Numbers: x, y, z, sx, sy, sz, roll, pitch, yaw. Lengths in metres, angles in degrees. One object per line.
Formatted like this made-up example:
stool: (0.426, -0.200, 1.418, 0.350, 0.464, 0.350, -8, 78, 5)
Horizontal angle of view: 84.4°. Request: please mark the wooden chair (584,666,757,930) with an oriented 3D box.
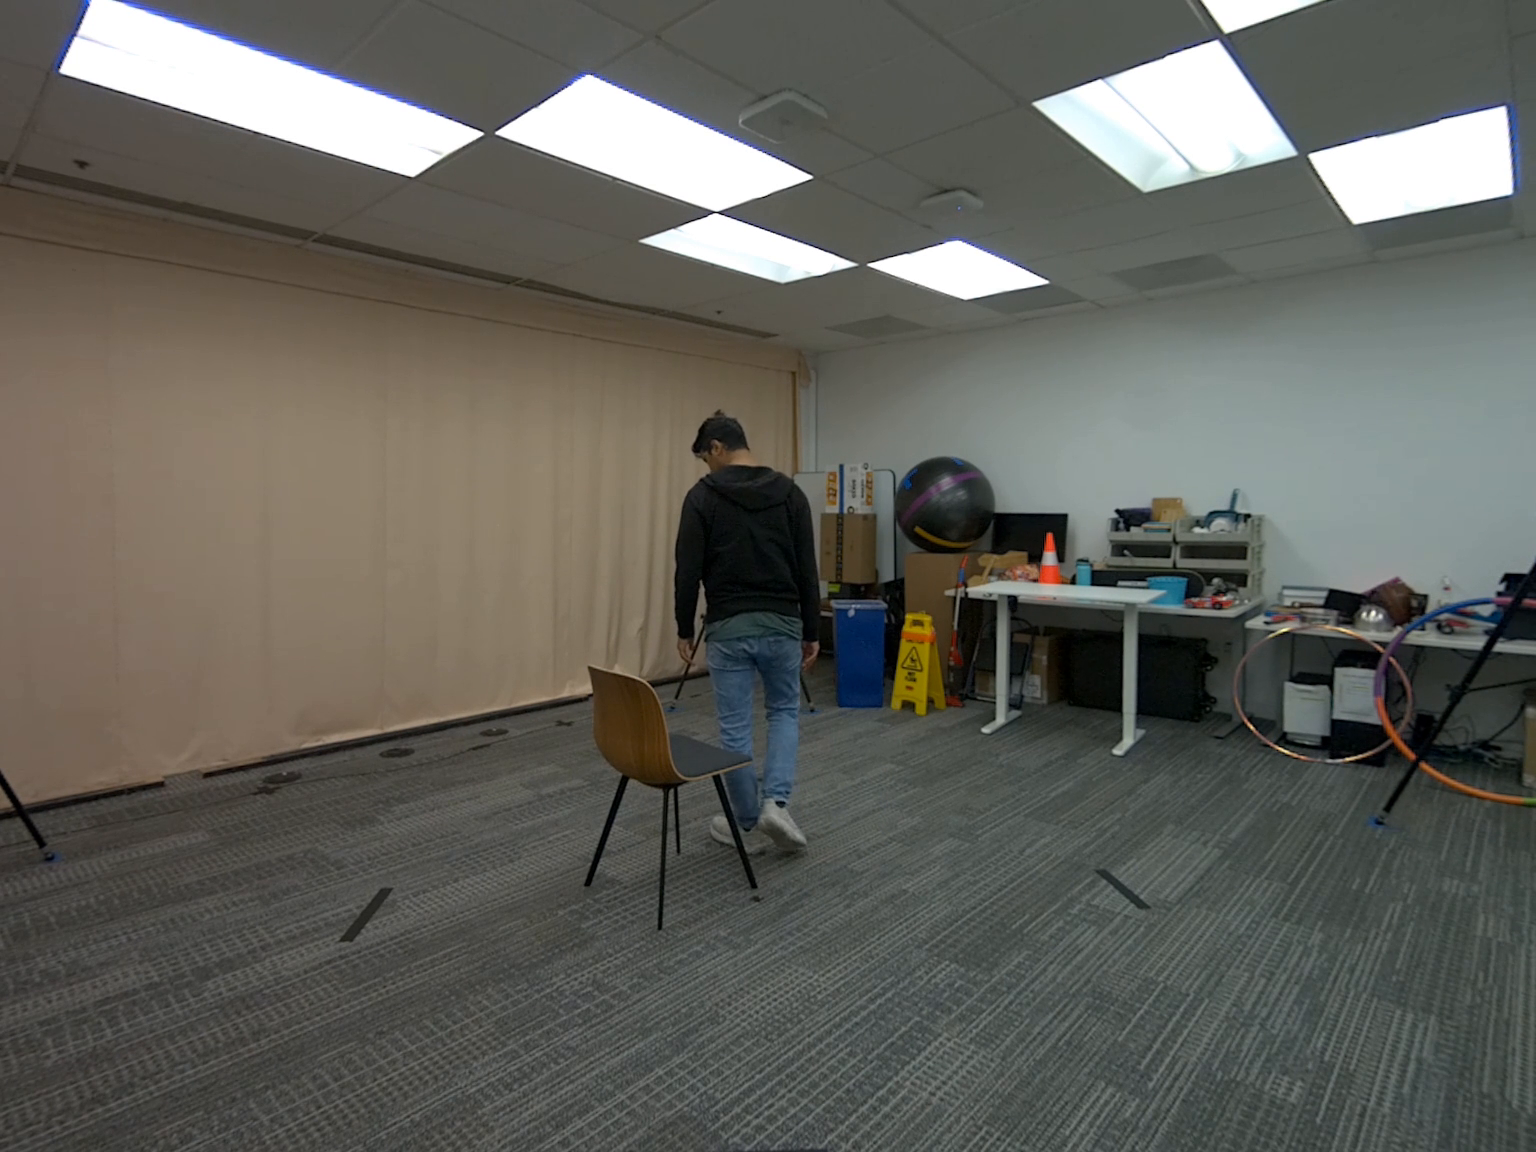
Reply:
wooden chair: (-0.352, 0.716, 3.052, 0.508, 0.874, 0.494, -9, 7, -42)
